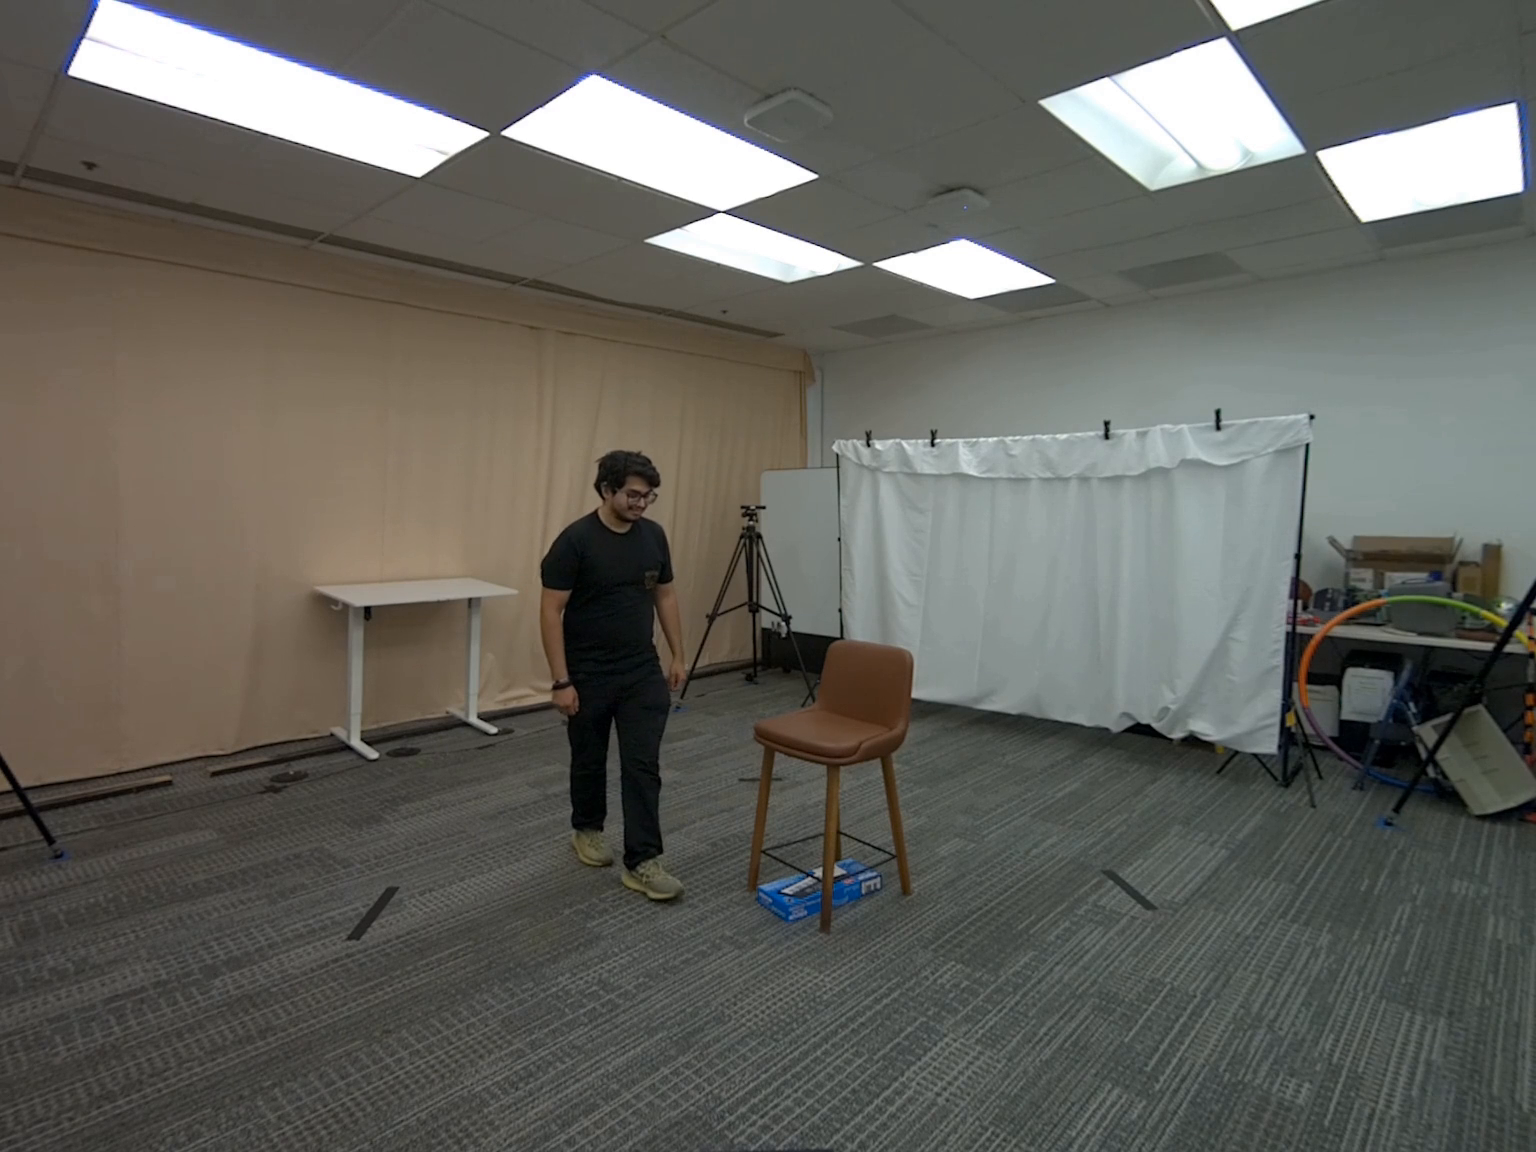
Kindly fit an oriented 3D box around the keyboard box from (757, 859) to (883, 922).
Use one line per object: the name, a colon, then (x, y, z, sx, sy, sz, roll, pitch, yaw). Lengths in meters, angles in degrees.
keyboard box: (0.194, 1.113, 3.001, 0.424, 0.059, 0.181, -3, 6, -34)
